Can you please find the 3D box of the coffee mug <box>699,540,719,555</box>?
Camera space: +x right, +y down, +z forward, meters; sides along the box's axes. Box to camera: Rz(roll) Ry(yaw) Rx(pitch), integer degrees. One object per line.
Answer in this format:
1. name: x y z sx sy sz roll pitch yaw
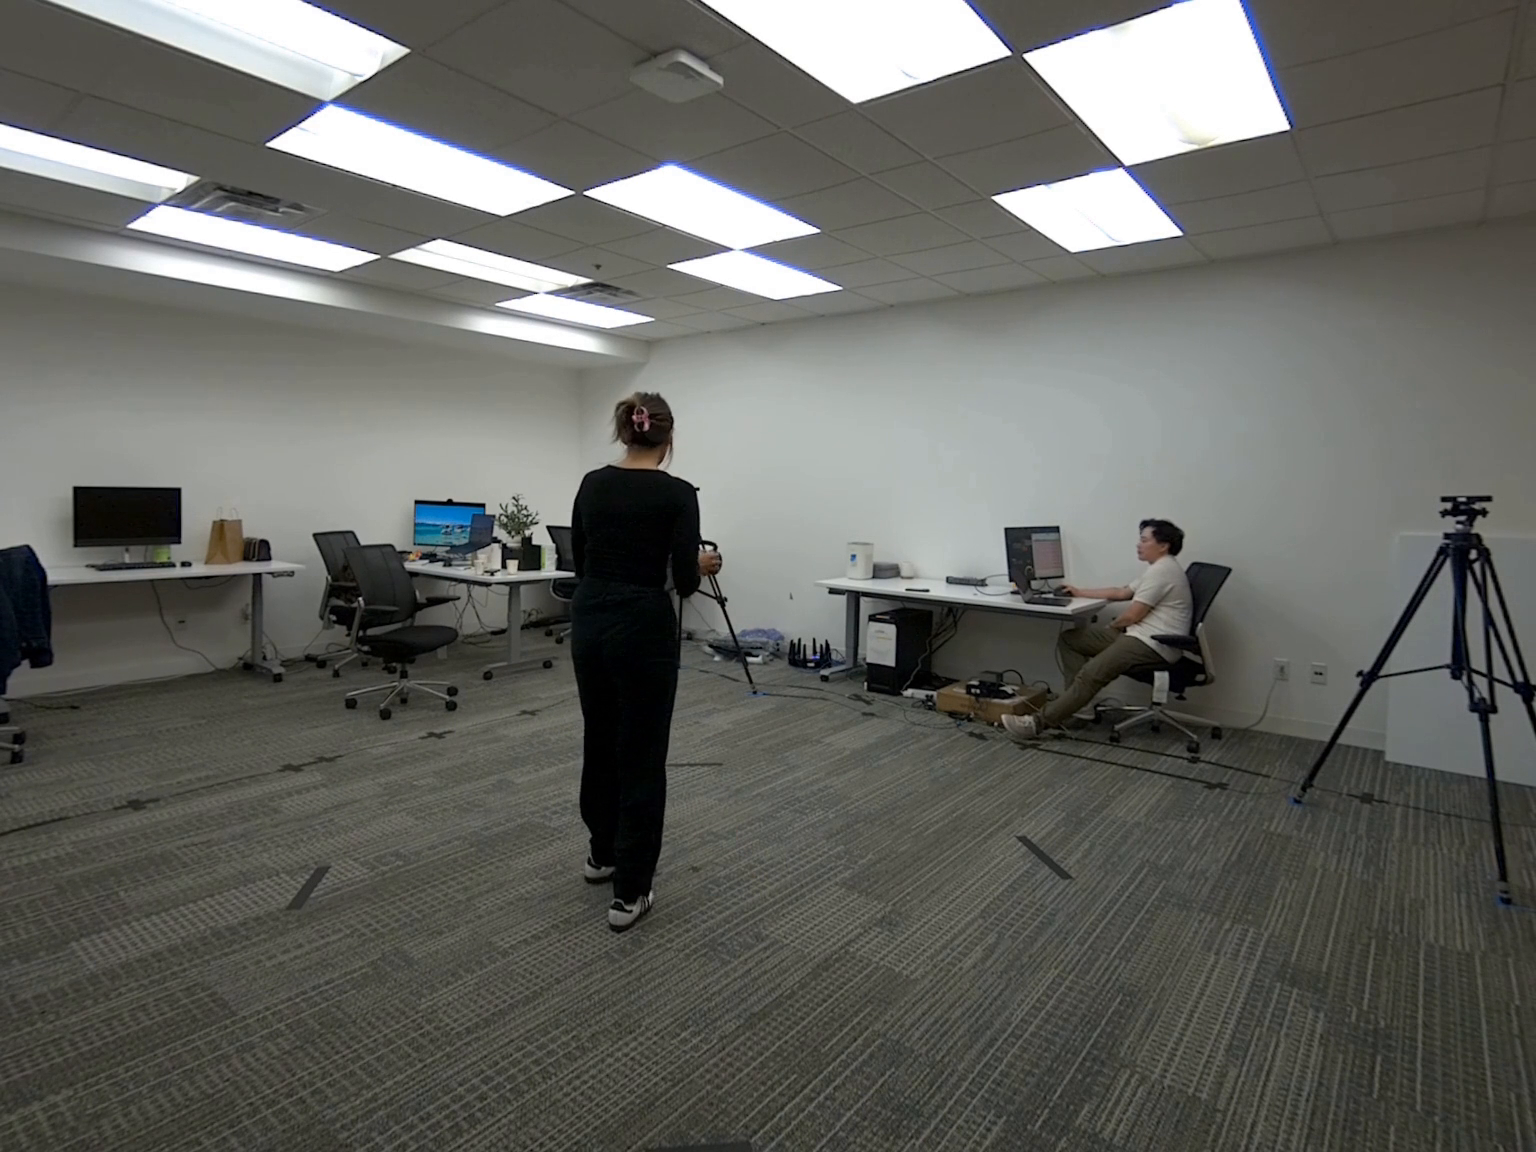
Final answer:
1. coffee mug: -0.285 -0.061 3.094 0.209 0.123 0.084 6 -34 29
